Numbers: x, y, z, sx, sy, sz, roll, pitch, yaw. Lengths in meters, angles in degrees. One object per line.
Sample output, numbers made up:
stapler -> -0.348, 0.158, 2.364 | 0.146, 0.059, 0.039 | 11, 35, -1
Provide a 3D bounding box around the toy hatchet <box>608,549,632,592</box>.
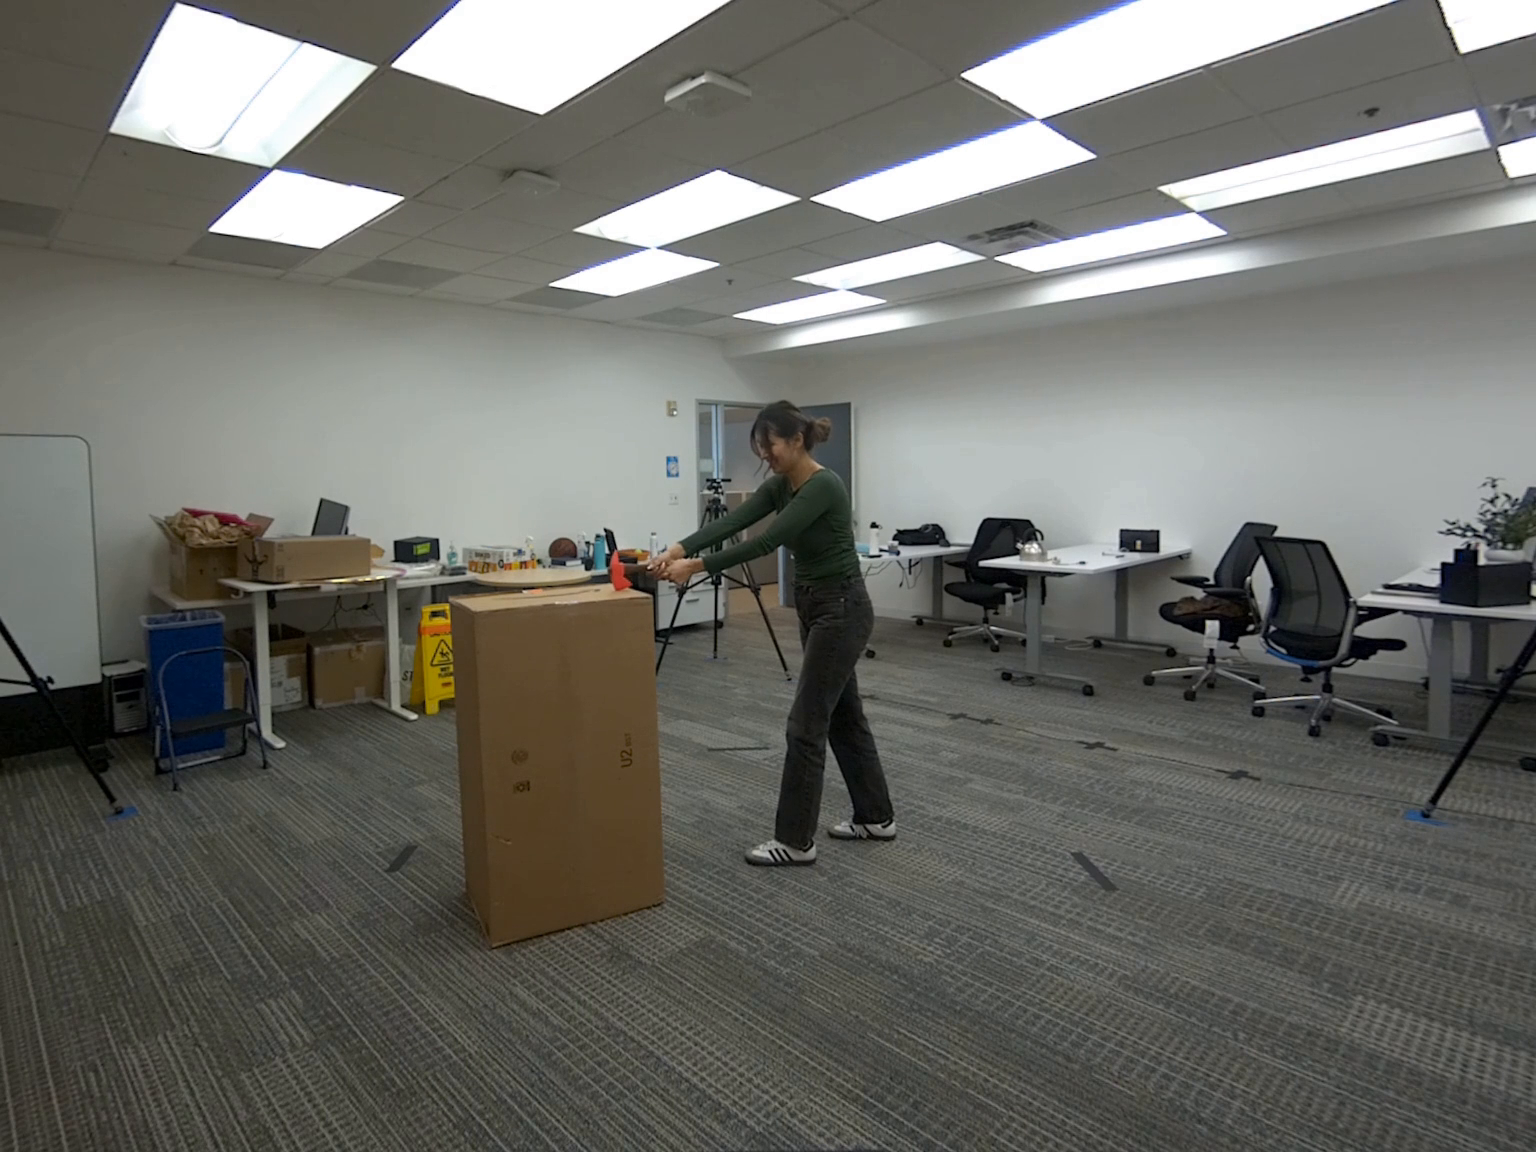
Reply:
toy hatchet -> -0.420, 0.000, 2.913 | 0.263, 0.131, 0.030 | 17, -8, -22
